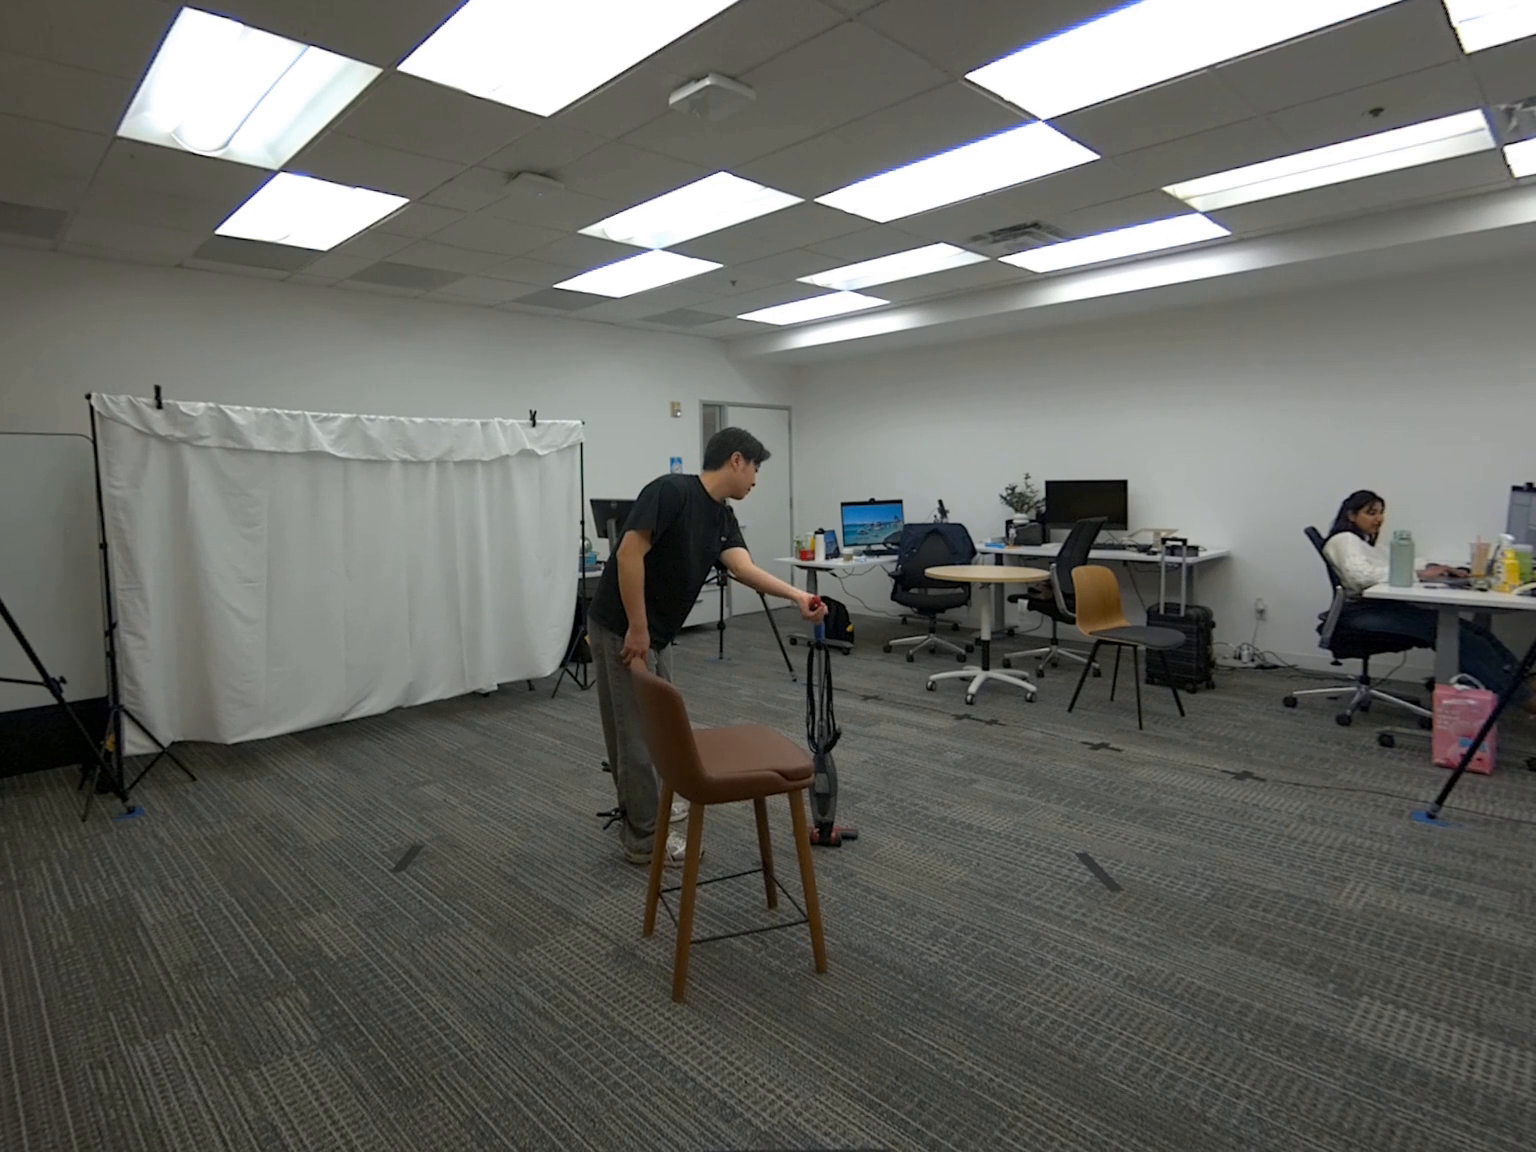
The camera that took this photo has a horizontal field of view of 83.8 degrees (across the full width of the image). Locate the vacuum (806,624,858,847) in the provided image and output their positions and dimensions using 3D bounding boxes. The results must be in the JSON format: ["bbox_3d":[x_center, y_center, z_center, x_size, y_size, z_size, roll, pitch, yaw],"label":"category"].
[{"bbox_3d":[0.209,0.554,3.109,0.255,1.027,0.145,3,24,11],"label":"vacuum"}]
